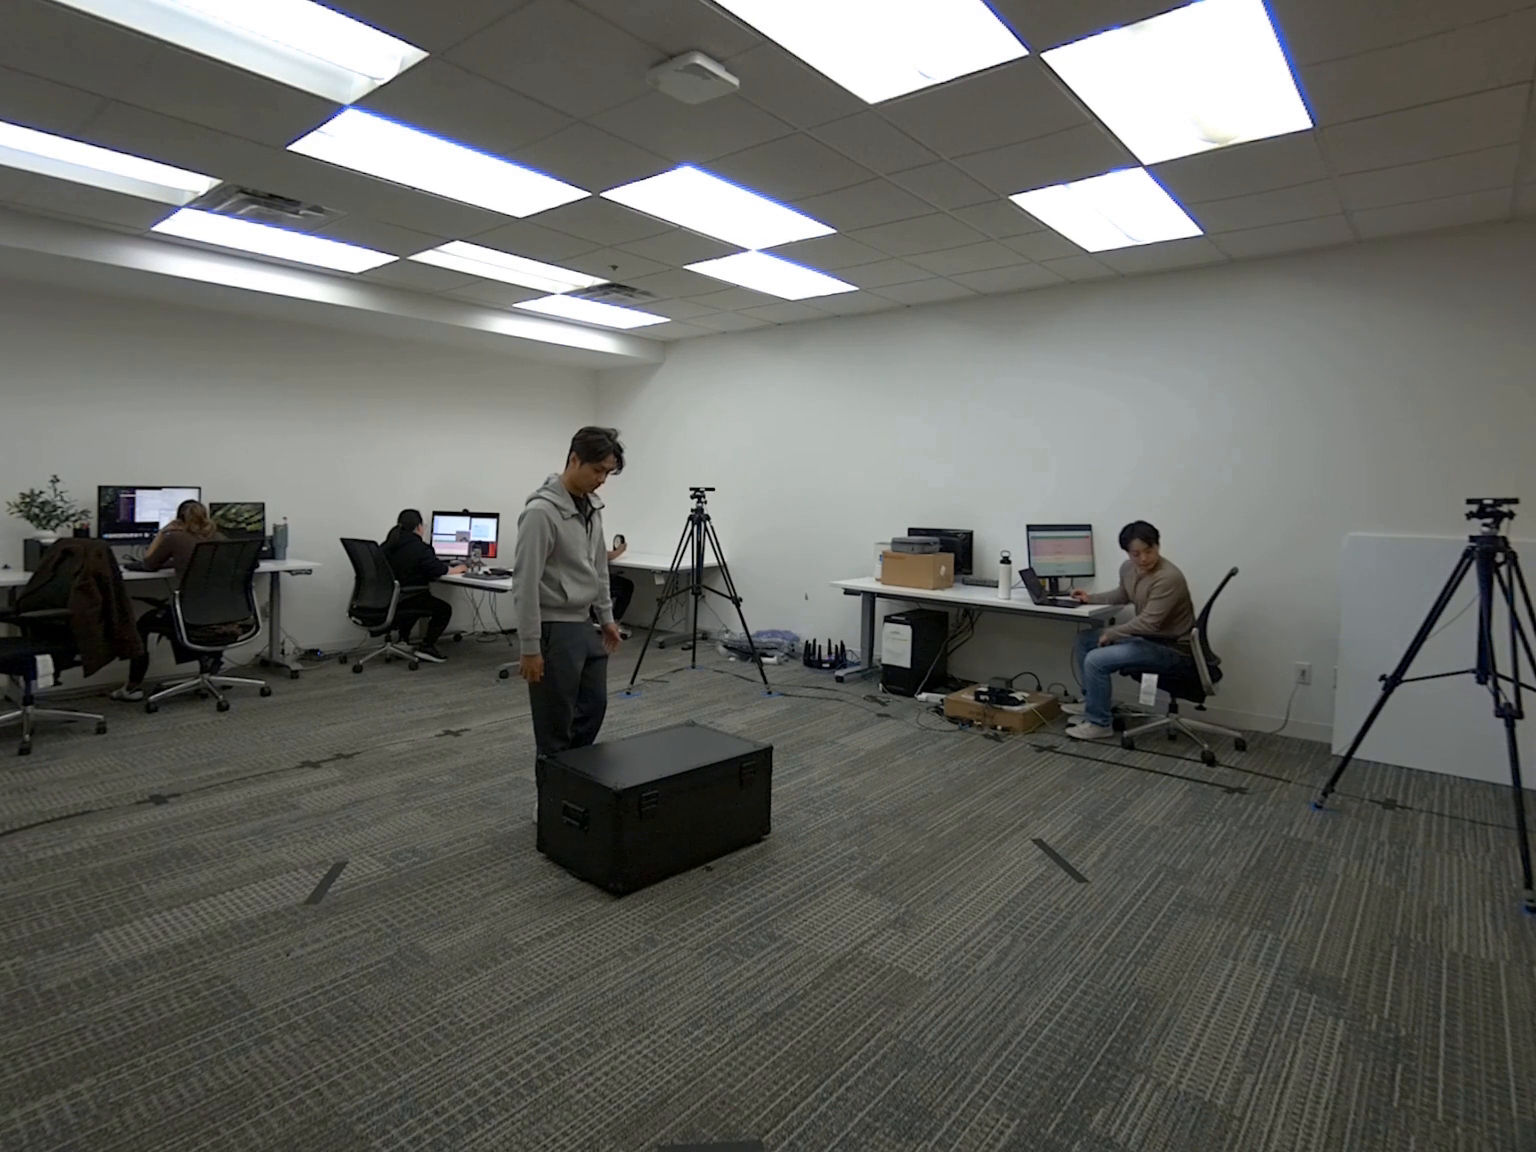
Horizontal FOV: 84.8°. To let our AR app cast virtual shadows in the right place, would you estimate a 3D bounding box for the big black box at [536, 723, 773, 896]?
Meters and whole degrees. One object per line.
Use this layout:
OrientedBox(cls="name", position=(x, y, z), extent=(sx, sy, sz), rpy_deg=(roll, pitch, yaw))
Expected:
OrientedBox(cls="big black box", position=(-0.410, 0.855, 3.293), extent=(0.539, 0.395, 0.836), rpy_deg=(5, 7, 43))
